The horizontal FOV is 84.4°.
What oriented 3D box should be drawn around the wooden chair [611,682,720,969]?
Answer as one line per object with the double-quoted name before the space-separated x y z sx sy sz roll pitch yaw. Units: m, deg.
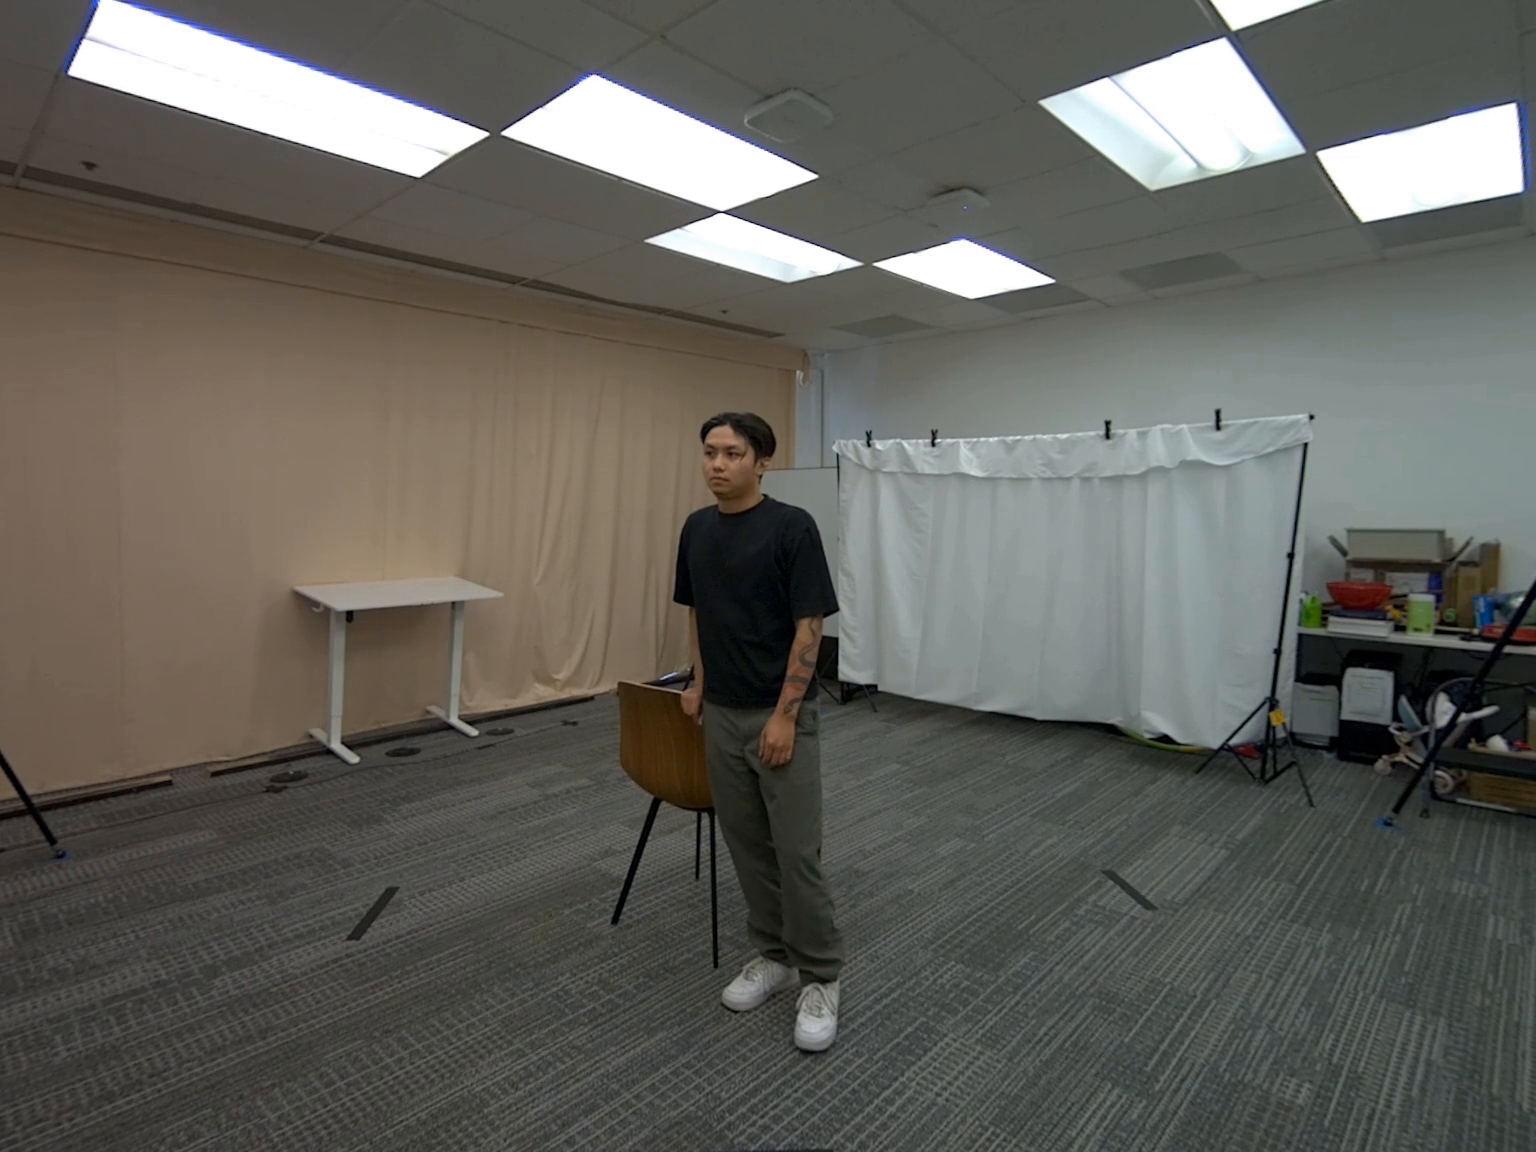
"wooden chair" -0.209 0.732 2.829 0.493 0.873 0.509 2 8 37
